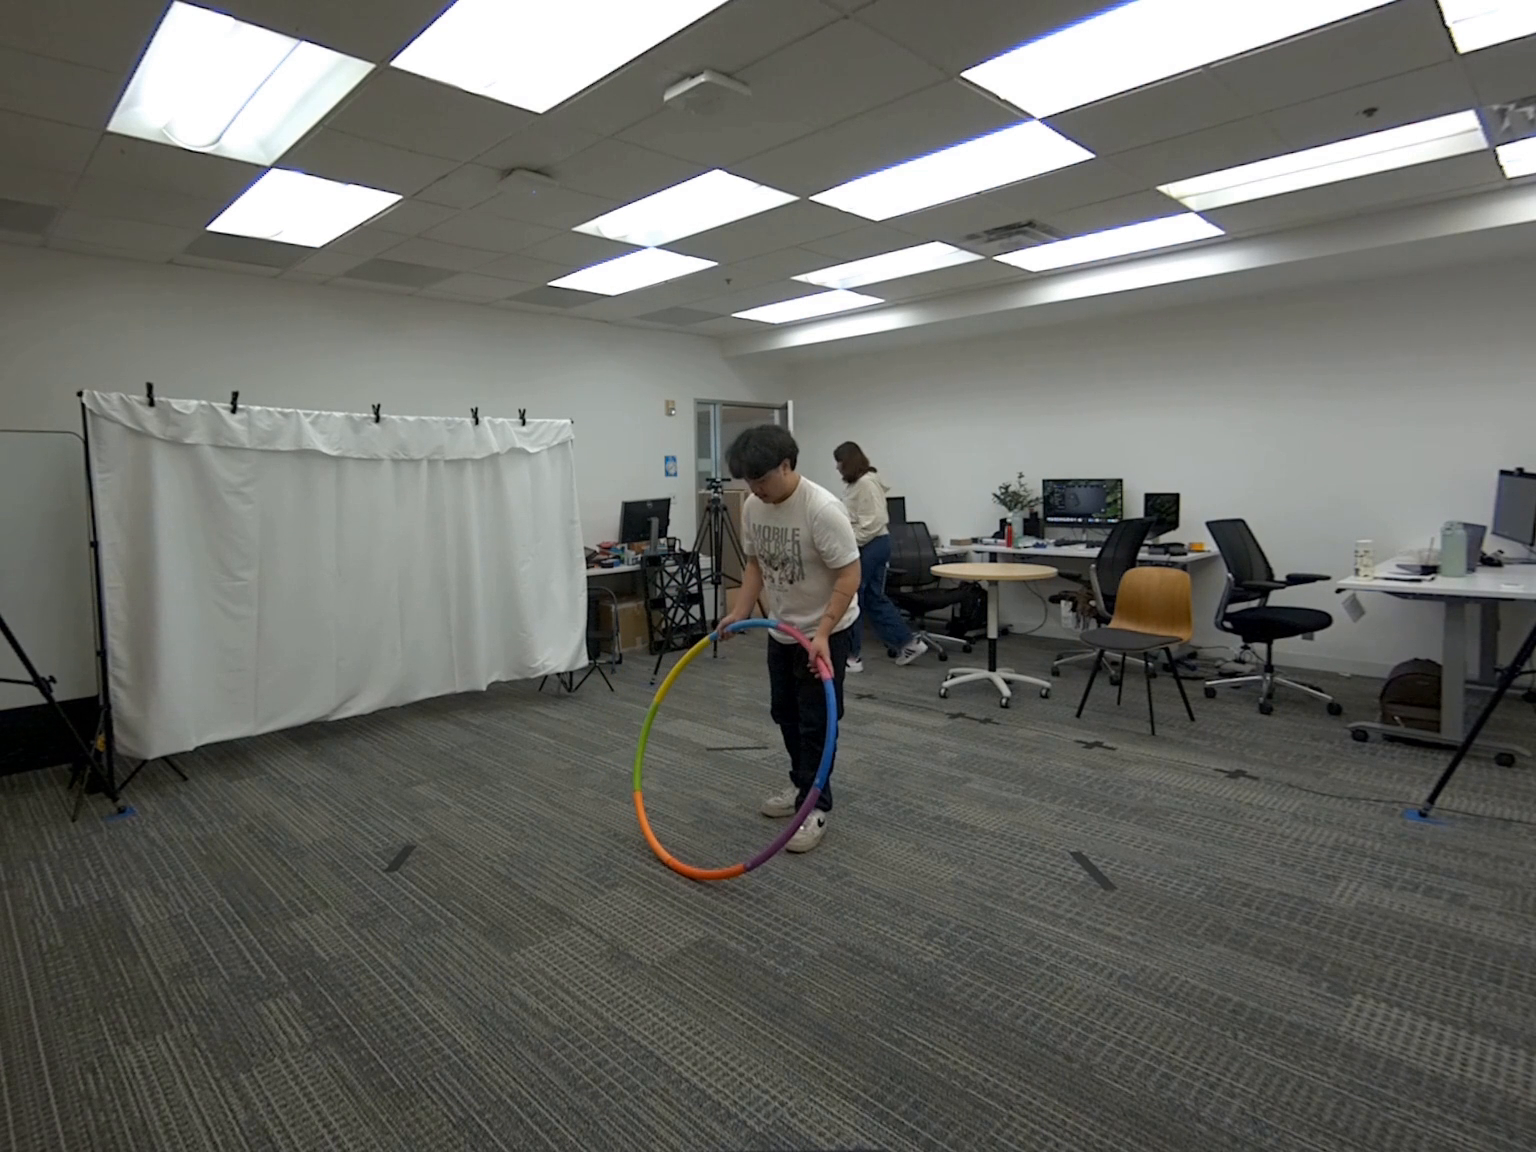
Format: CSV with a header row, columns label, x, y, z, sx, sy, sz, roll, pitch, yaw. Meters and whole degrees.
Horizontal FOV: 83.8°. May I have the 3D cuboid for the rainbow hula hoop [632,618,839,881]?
label,x,y,z,sx,sy,sz,roll,pitch,yaw
rainbow hula hoop,-0.159,0.613,3.170,1.016,0.992,0.050,5,-23,48
